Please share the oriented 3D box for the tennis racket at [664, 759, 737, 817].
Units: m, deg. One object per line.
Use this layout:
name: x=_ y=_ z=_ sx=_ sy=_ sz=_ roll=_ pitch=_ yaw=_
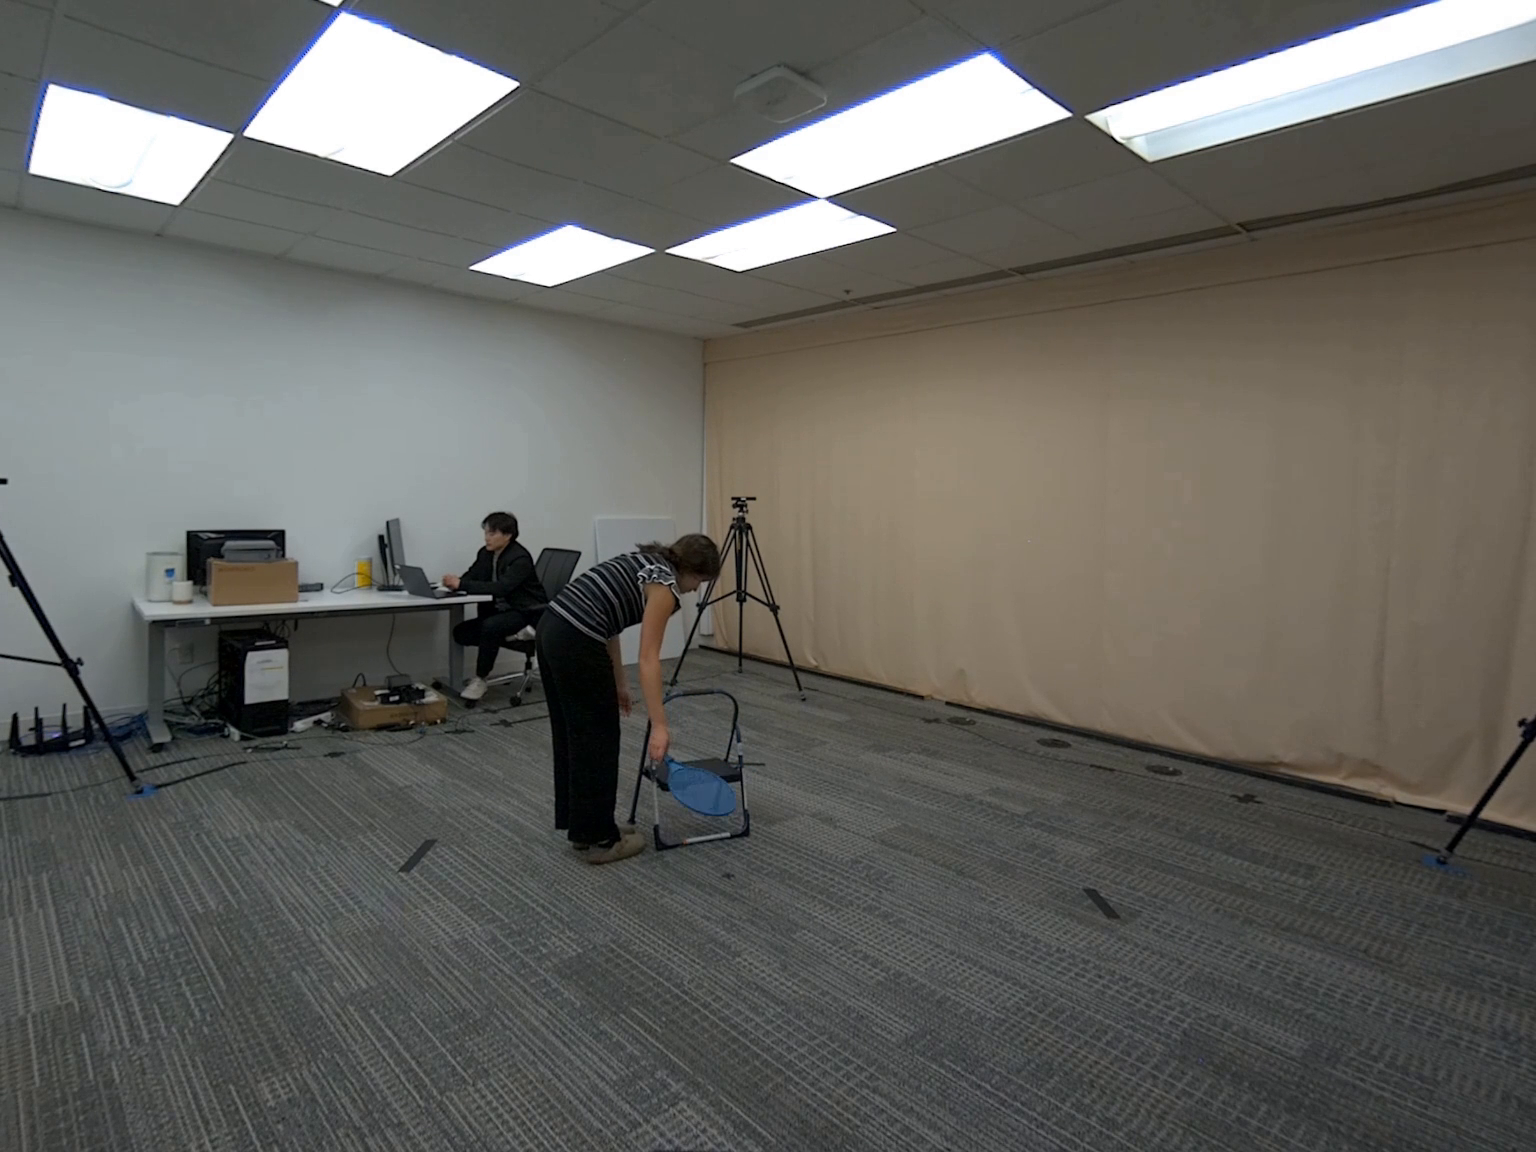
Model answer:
tennis racket: x=-0.274 y=0.710 z=2.911 sx=0.209 sy=0.031 sz=0.446 roll=-10 pitch=27 yaw=-41
